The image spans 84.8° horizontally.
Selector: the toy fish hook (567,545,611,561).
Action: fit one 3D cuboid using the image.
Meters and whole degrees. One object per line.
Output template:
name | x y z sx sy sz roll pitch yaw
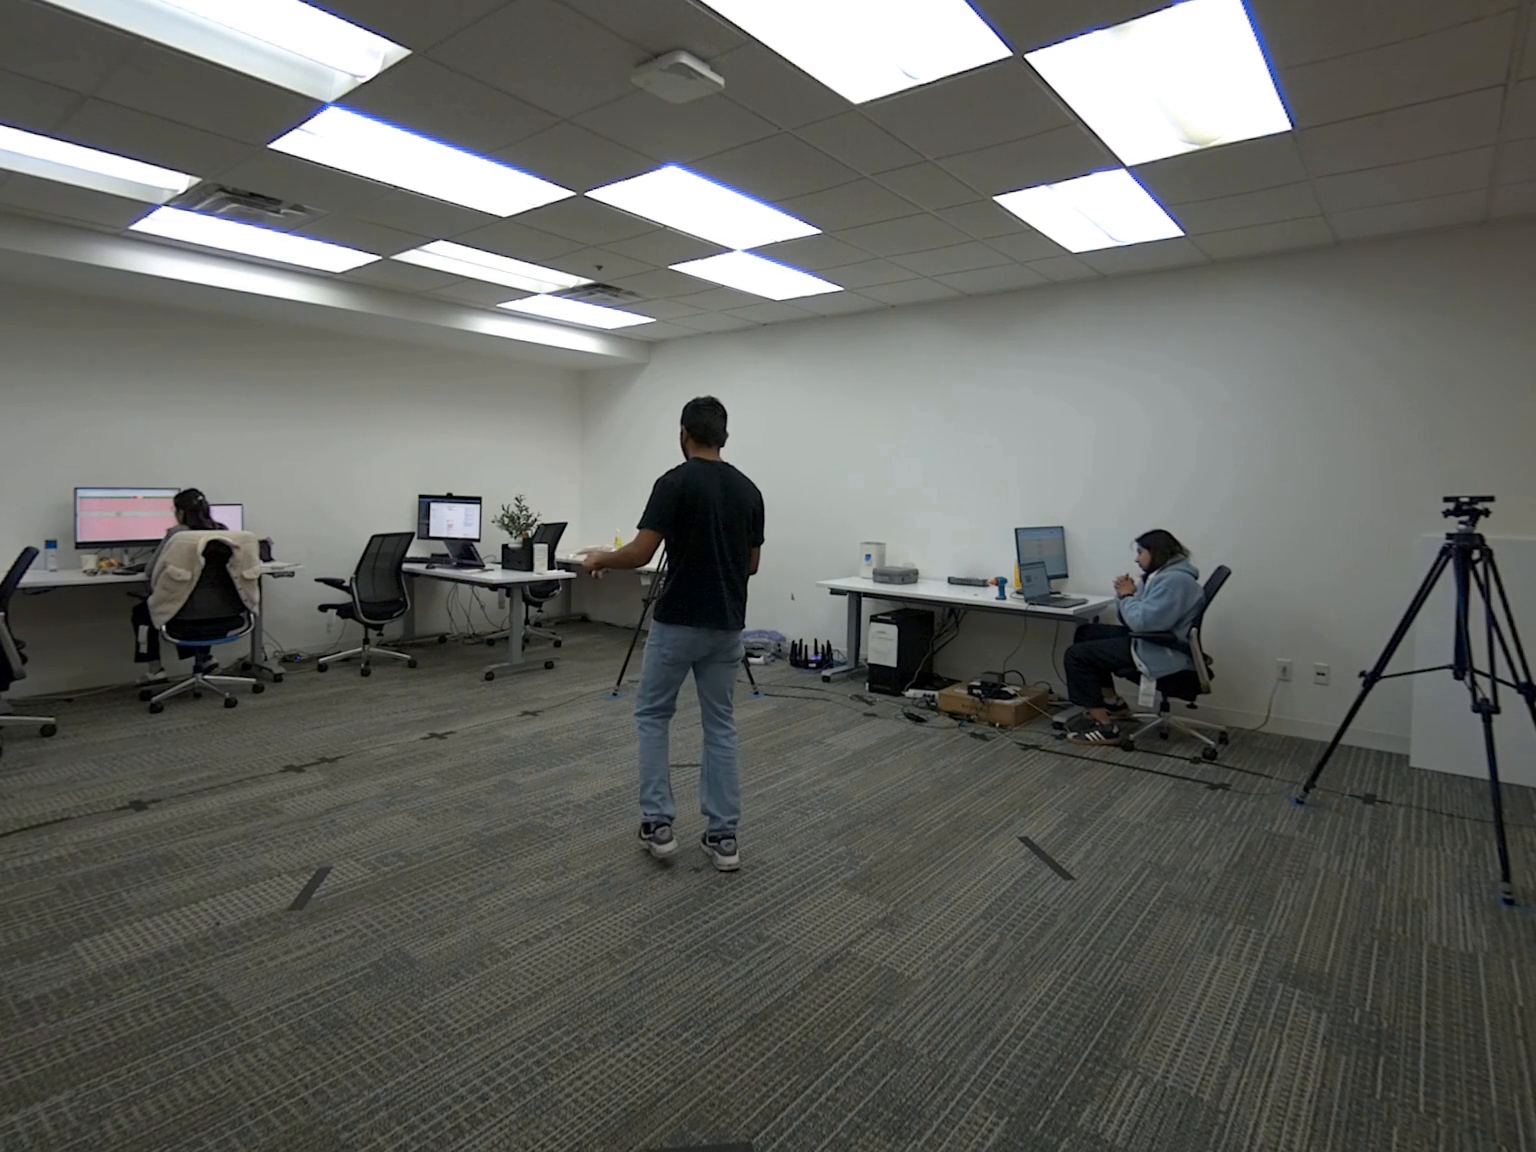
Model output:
toy fish hook | -0.828 -0.059 3.417 0.221 0.048 0.521 -7 13 -19
